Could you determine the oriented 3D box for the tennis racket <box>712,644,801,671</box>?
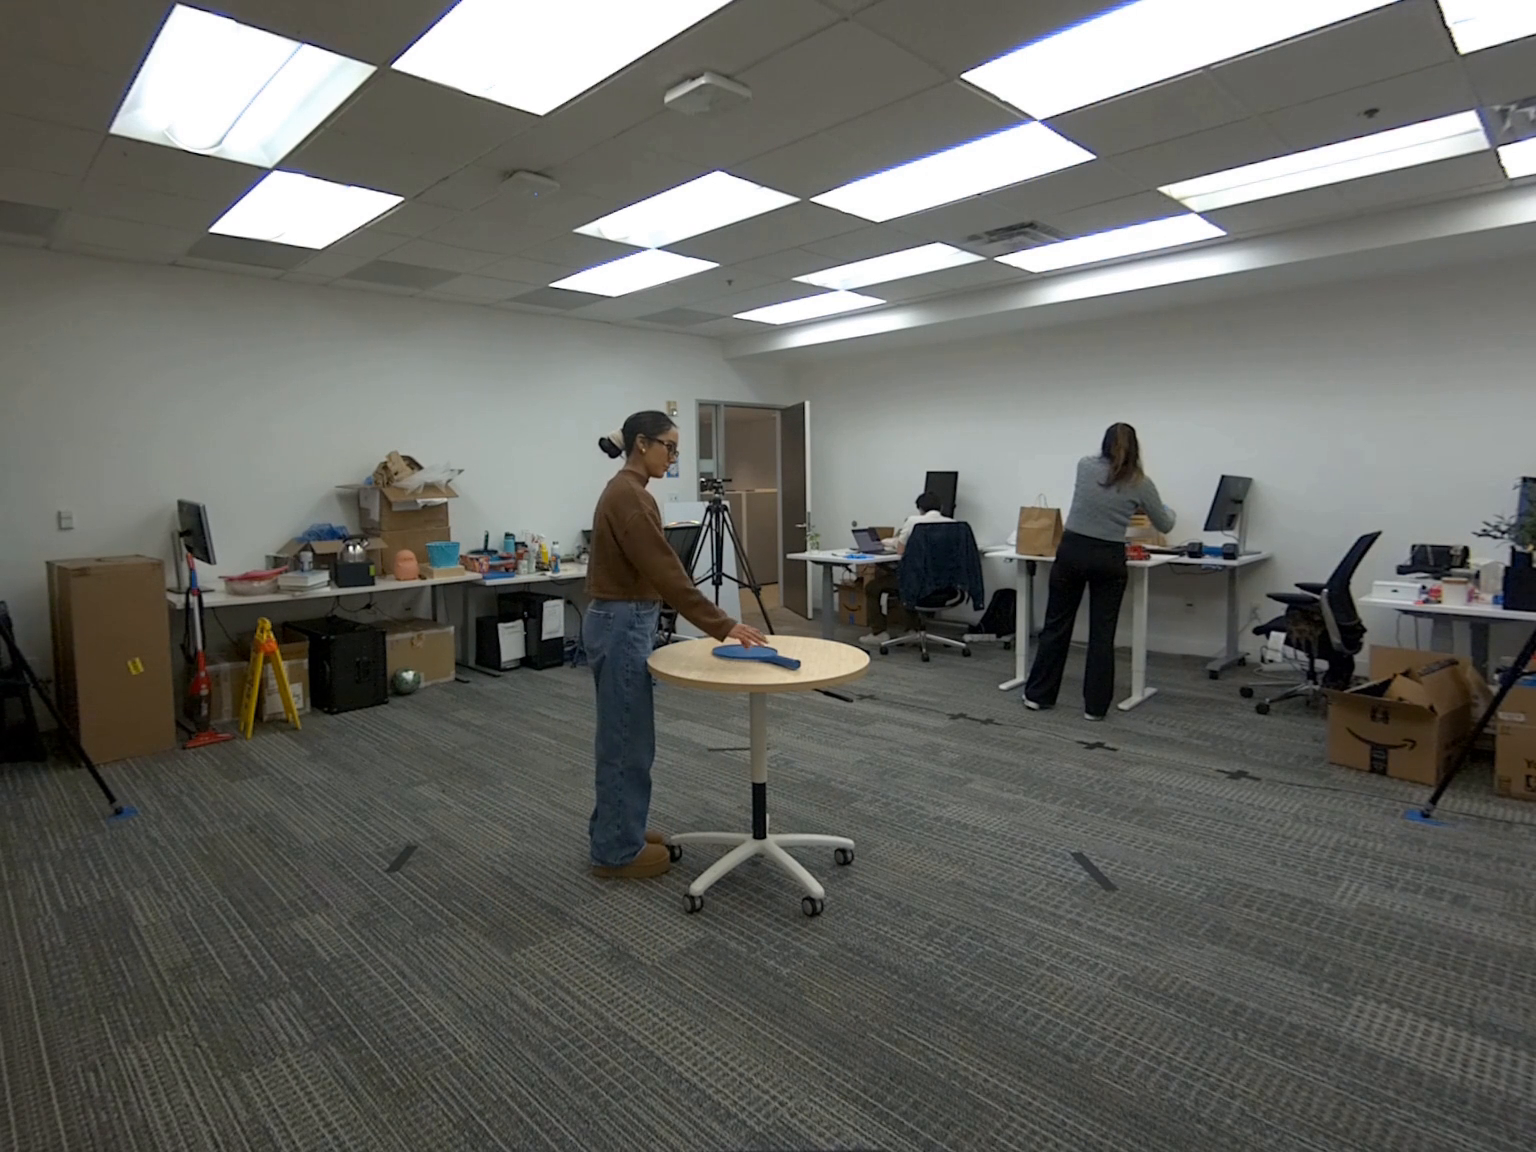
[{"bbox_3d":[-0.038,0.274,2.919,0.208,0.031,0.445,-5,6,-33],"label":"tennis racket"}]
